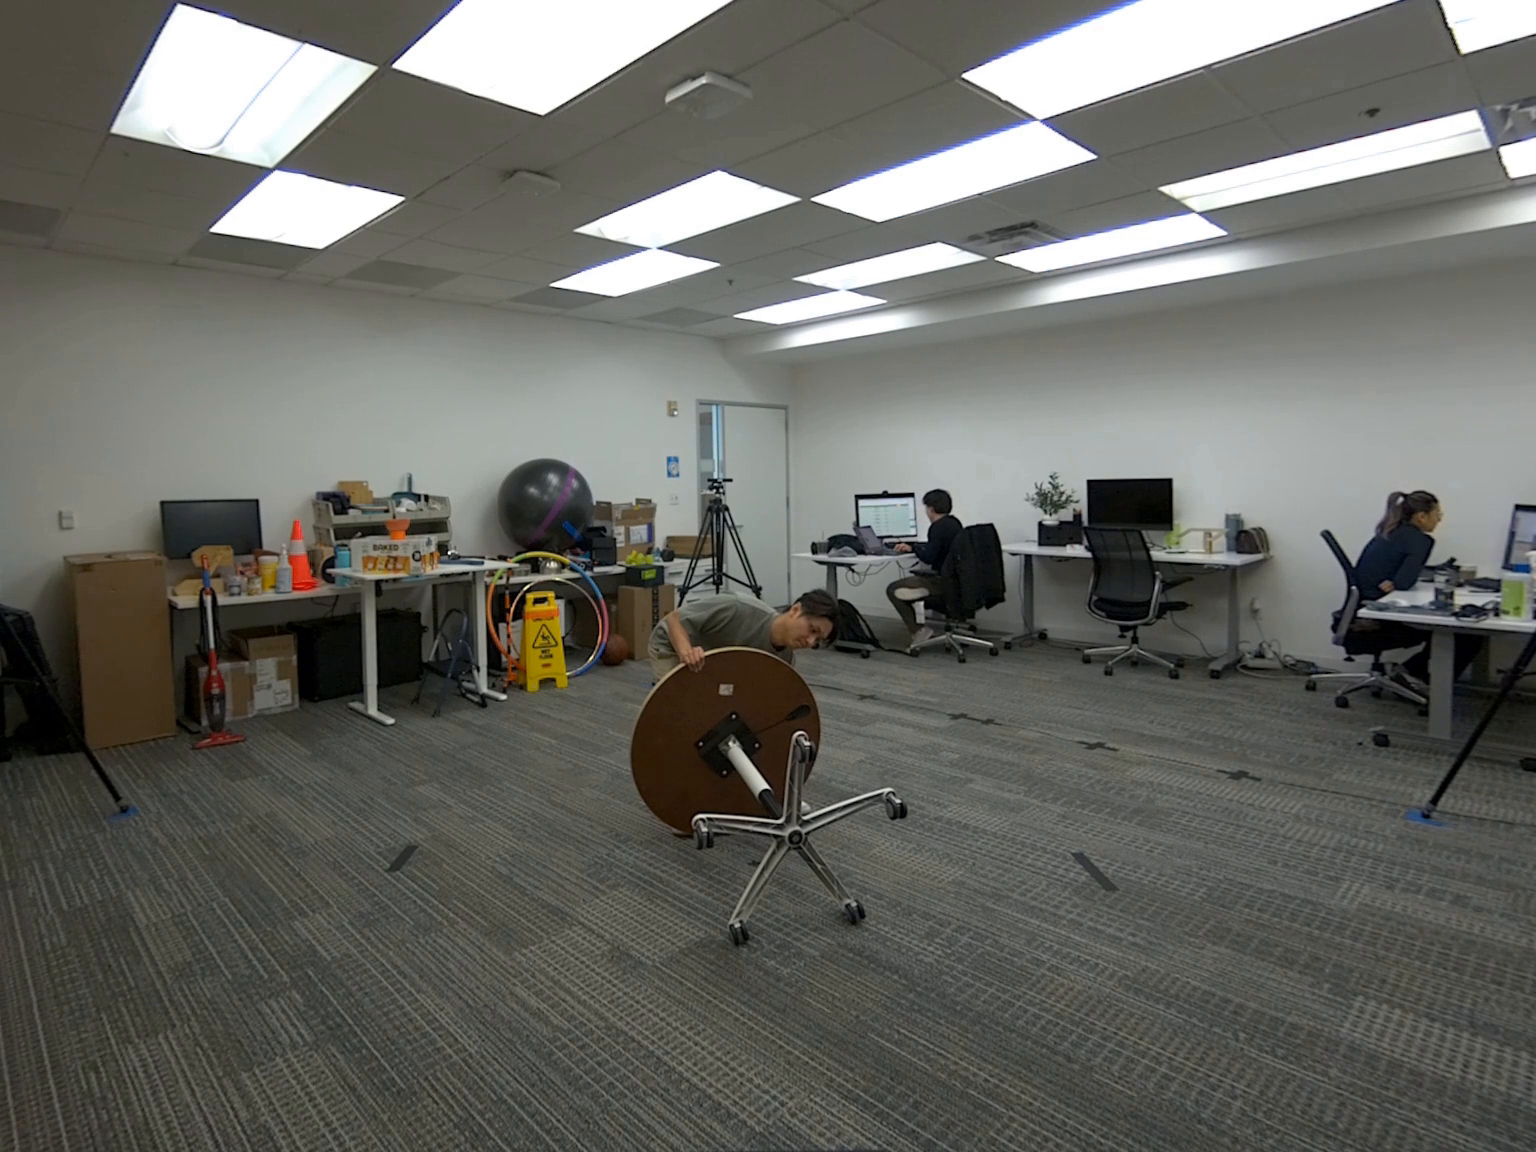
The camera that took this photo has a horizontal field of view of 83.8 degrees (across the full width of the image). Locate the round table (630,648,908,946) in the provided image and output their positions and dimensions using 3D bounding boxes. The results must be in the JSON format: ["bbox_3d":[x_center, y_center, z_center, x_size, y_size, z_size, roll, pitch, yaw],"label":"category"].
[{"bbox_3d":[-0.025,0.734,2.926,0.773,0.777,0.806,-2,12,-18],"label":"round table"}]
